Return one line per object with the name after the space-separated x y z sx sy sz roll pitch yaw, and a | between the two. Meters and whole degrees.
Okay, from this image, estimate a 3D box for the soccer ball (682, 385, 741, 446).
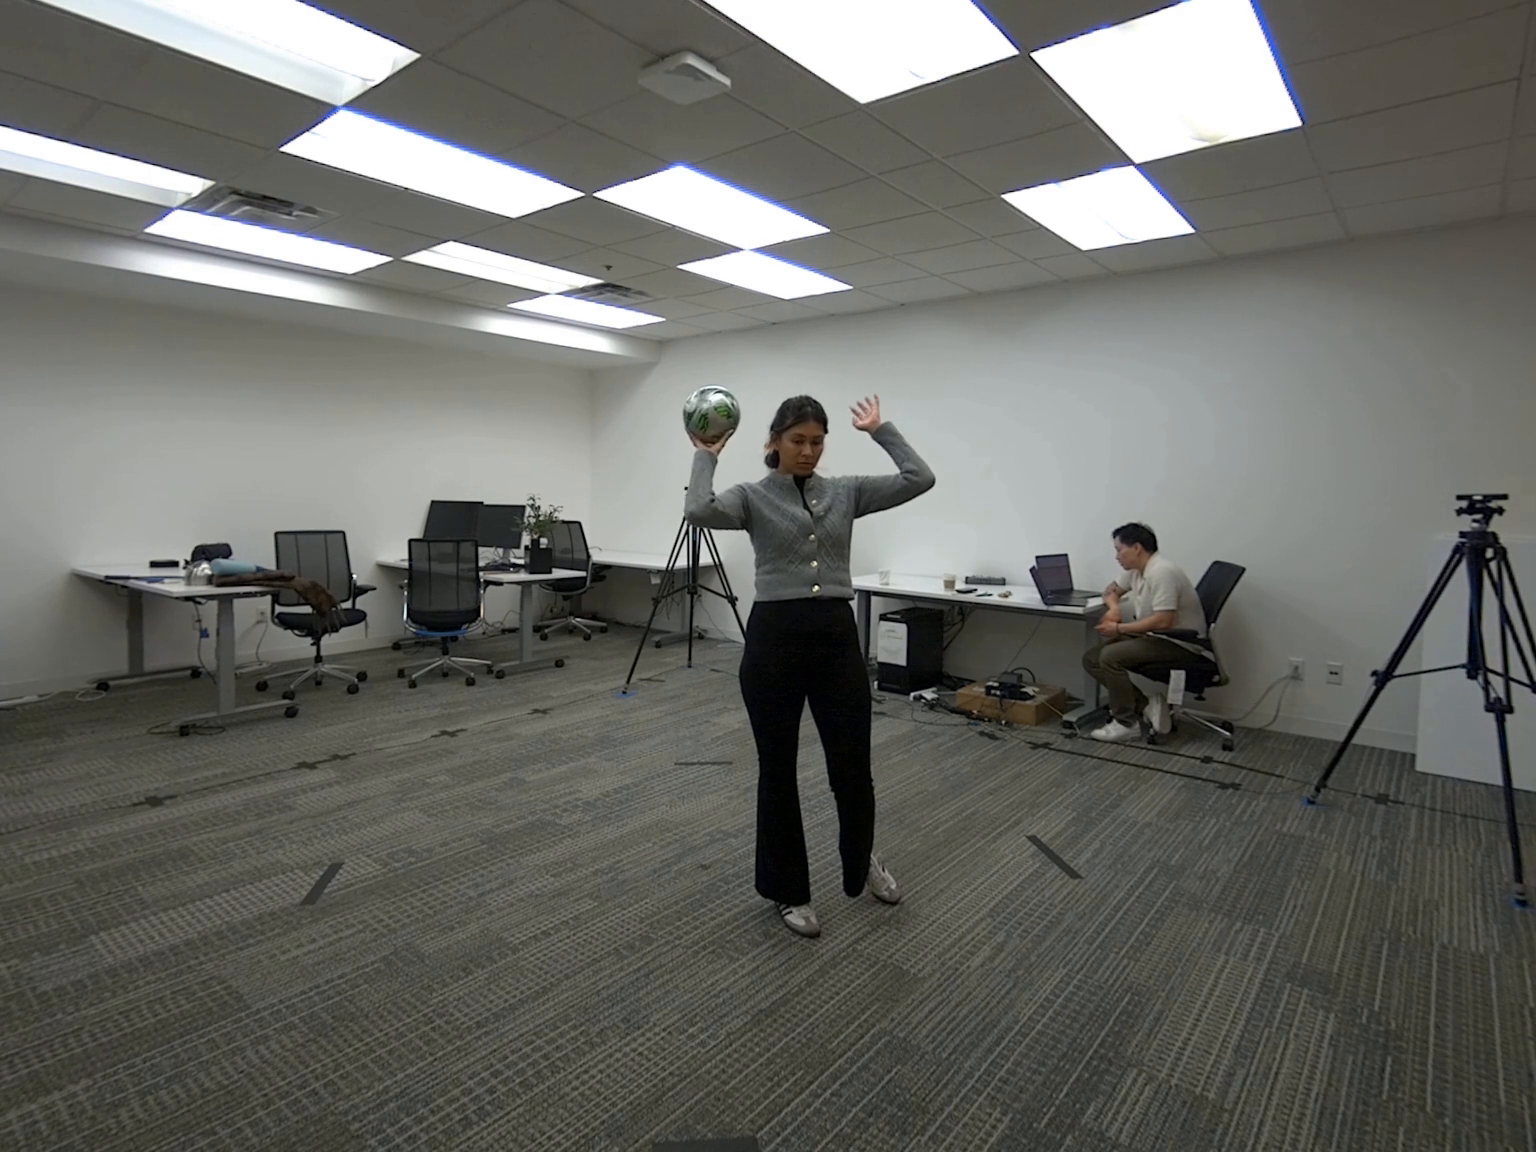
-0.179 -0.520 2.746 0.187 0.187 0.188 0 4 -2 | soccer ball
